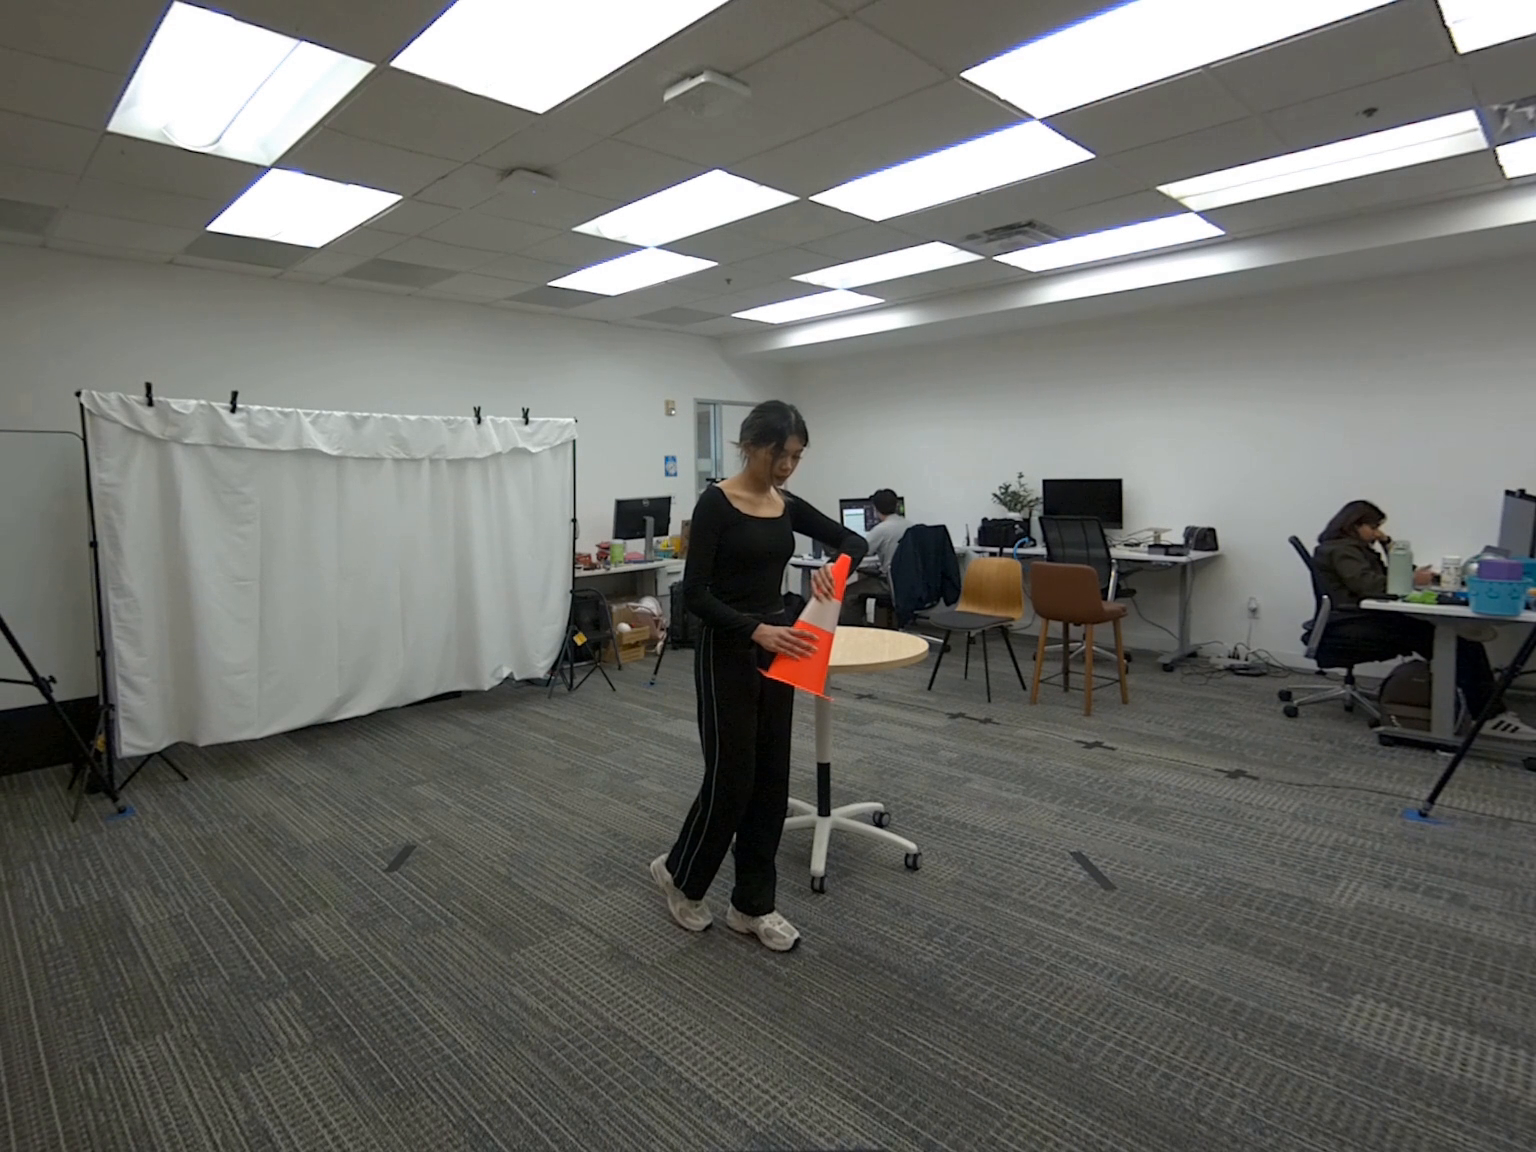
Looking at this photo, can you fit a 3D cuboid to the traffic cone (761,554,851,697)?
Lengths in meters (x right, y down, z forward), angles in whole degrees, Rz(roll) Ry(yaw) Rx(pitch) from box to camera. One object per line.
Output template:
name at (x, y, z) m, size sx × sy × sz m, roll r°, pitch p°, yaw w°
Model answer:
traffic cone at (0.152, 0.129, 2.333) m, size 0.202 × 0.384 × 0.206 m, roll 23°, pitch -4°, yaw -6°
